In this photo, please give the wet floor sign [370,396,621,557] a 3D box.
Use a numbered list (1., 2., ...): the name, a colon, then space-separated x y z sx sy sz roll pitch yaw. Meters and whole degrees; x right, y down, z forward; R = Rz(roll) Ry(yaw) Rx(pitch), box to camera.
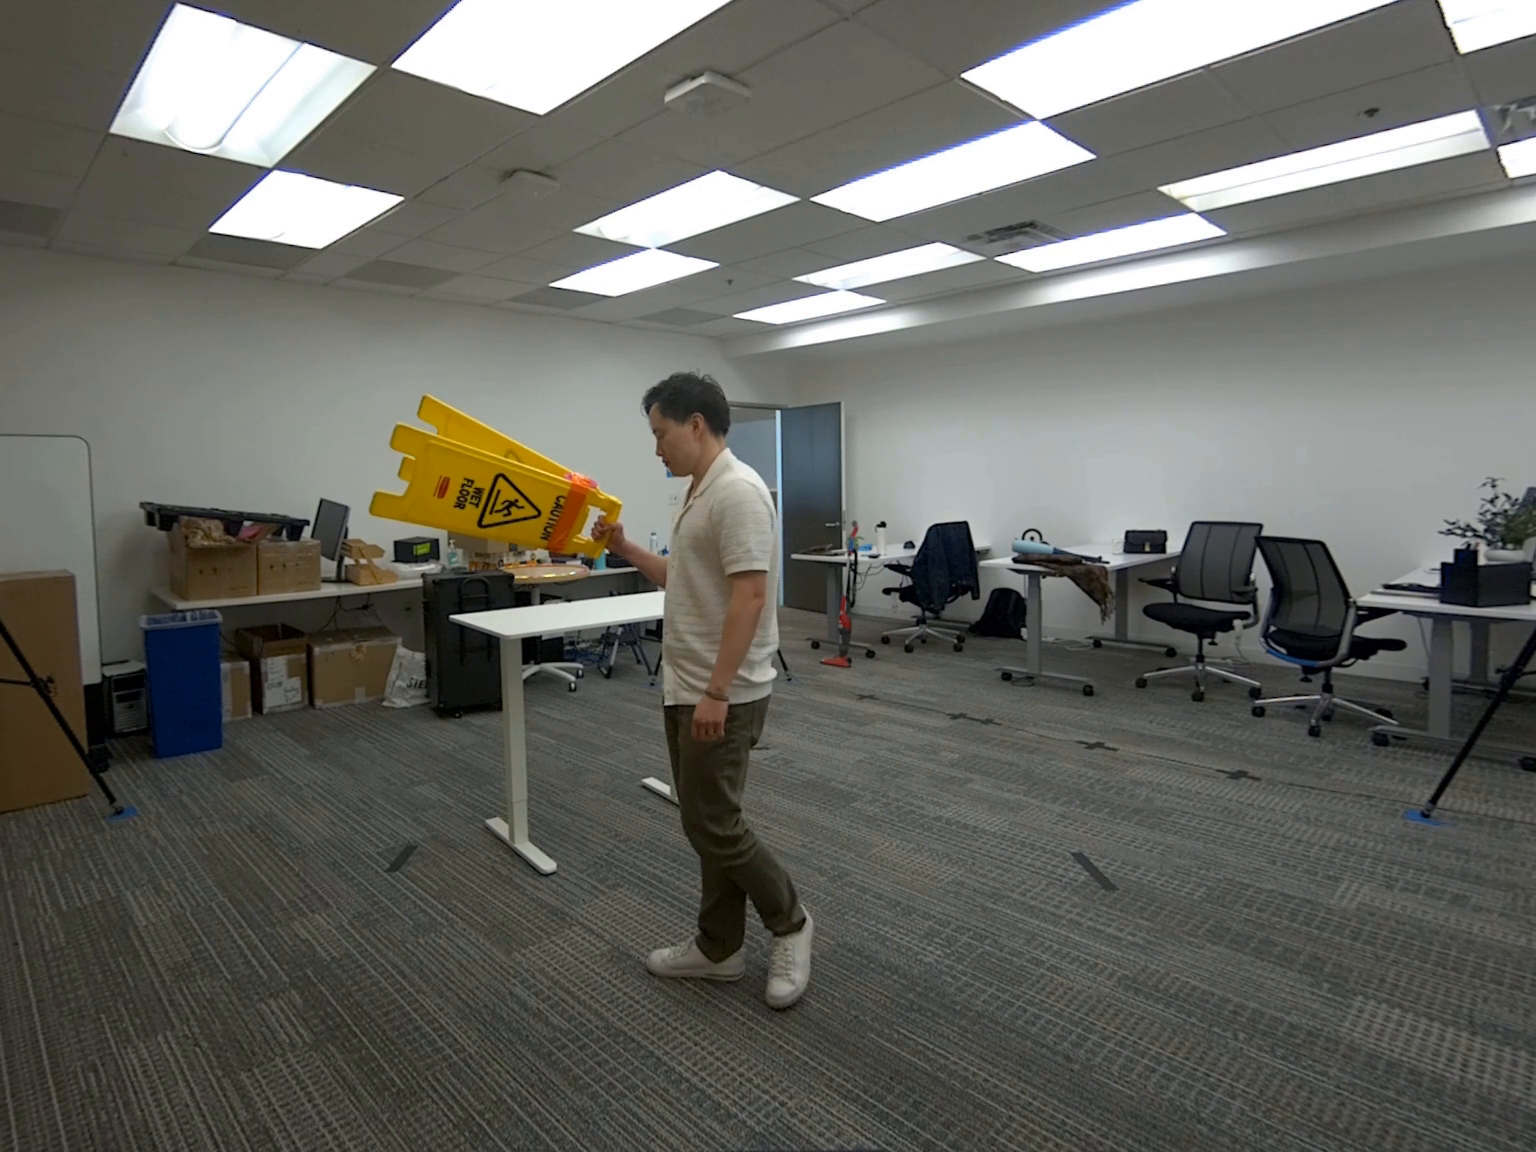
1. wet floor sign: -0.747 -0.242 2.470 0.635 0.280 0.297 21 23 -14
